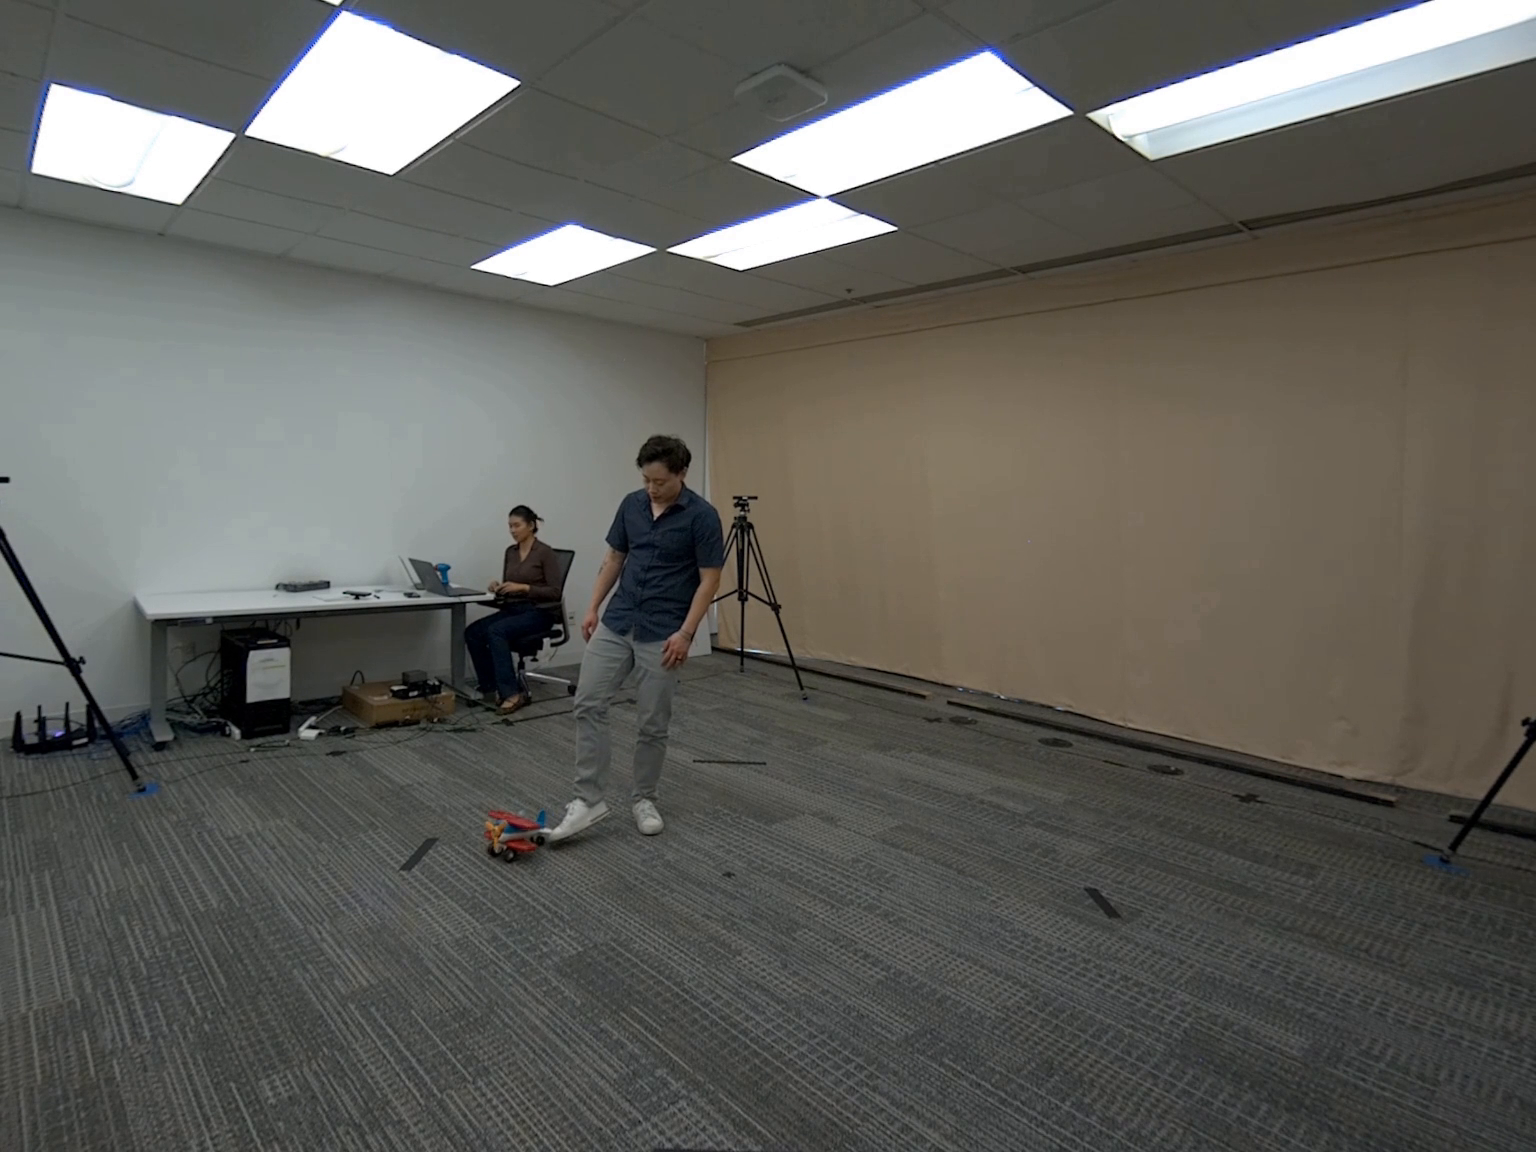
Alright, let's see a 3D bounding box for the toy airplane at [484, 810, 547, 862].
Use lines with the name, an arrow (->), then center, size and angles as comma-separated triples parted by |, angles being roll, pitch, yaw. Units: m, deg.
toy airplane -> -0.990, 0.995, 3.266 | 0.252, 0.156, 0.259 | 1, 5, 5
